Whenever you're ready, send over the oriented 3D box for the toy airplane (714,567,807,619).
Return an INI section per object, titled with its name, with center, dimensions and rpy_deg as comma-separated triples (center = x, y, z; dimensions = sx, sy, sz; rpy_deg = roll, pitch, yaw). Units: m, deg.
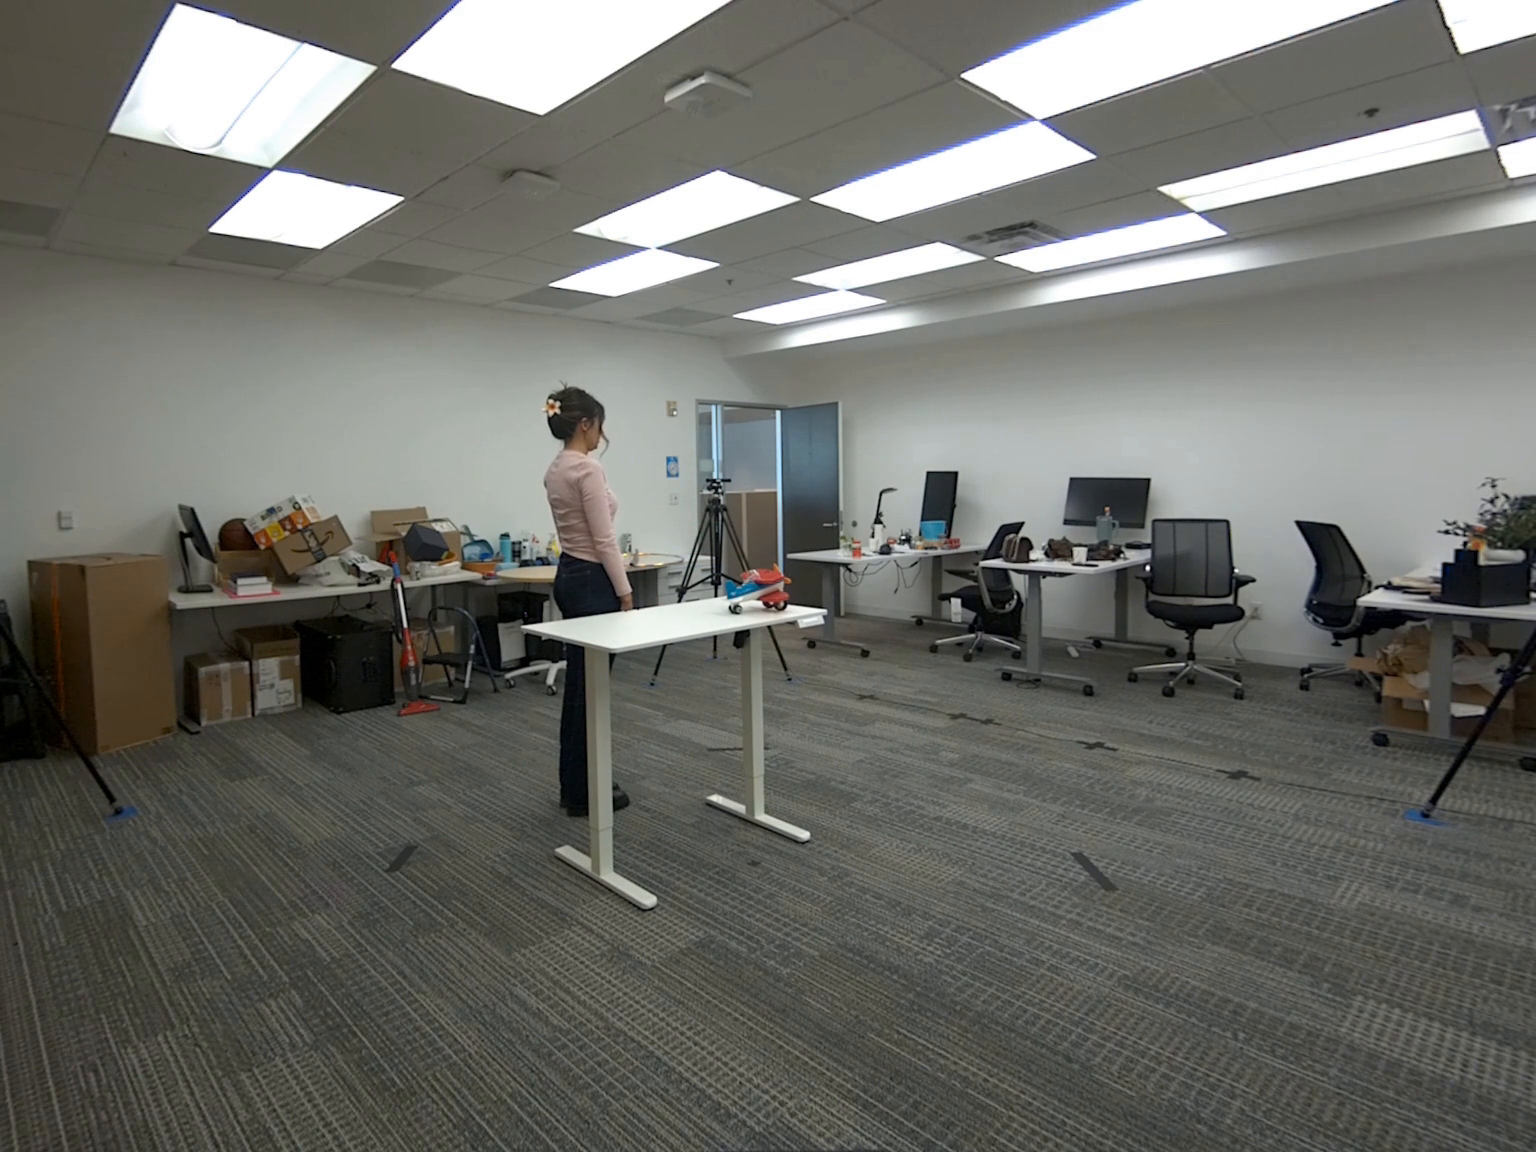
[toy airplane]
center = -0.028, 0.059, 3.301
dimensions = 0.258, 0.156, 0.253
rpy_deg = 2, 6, 33
